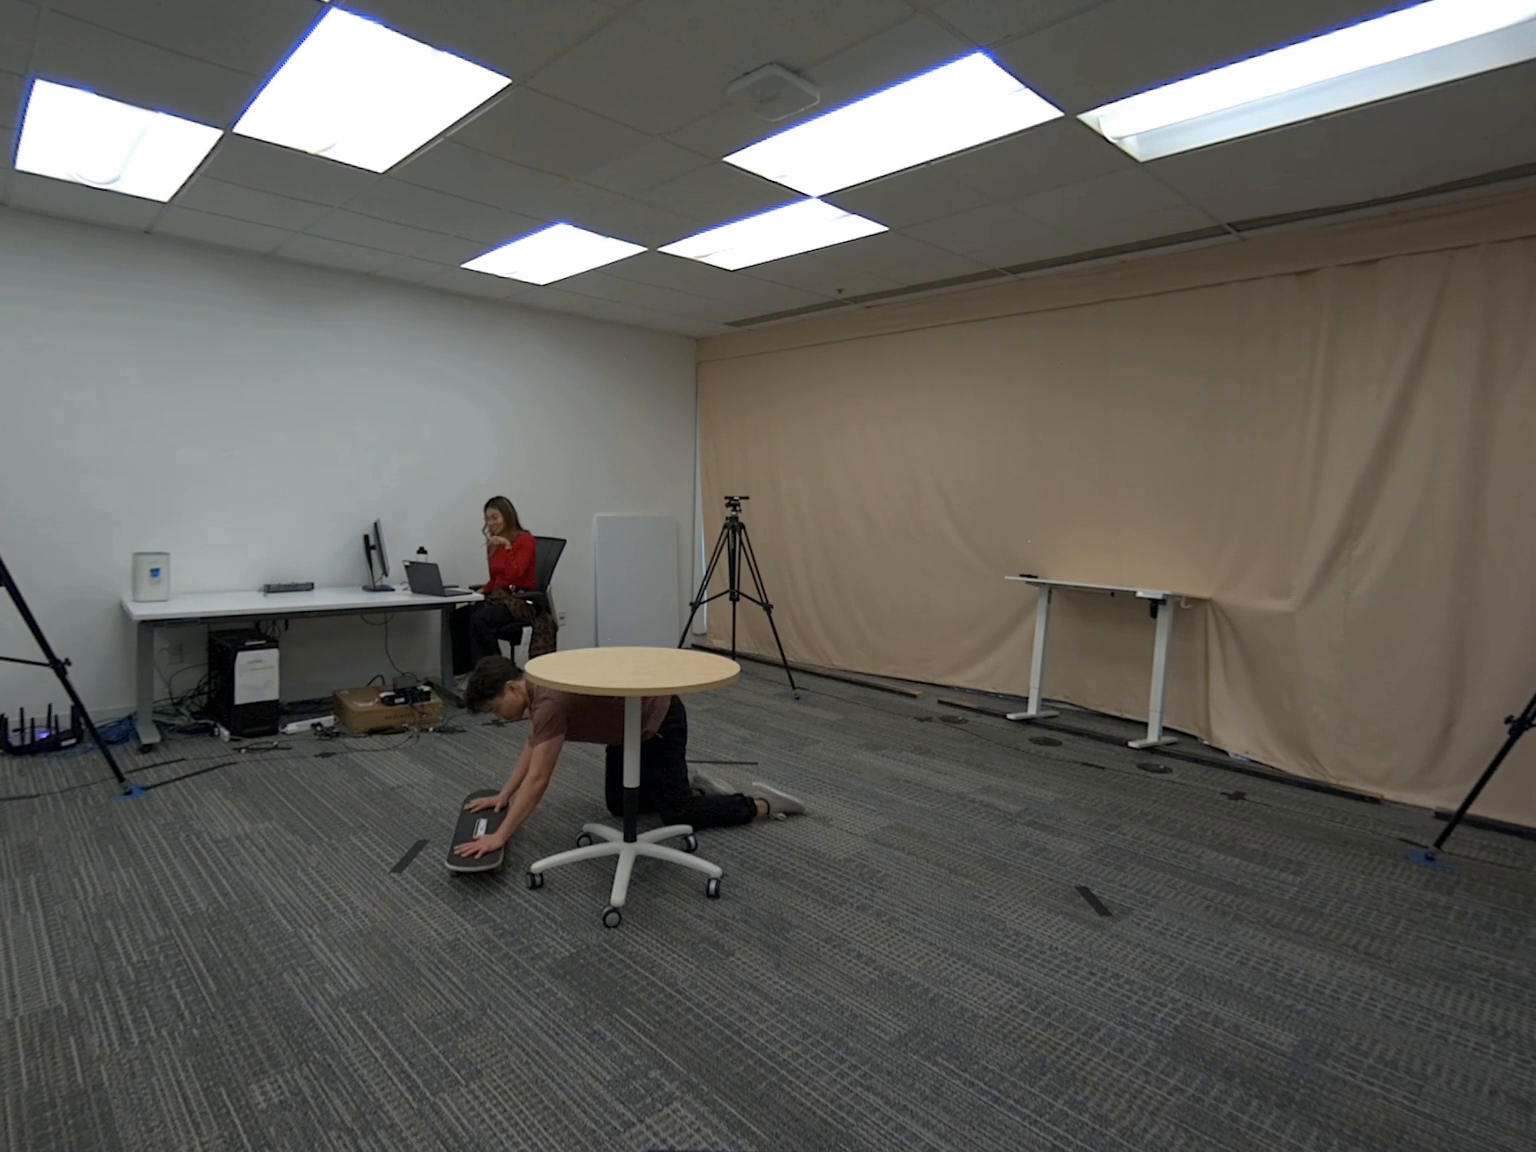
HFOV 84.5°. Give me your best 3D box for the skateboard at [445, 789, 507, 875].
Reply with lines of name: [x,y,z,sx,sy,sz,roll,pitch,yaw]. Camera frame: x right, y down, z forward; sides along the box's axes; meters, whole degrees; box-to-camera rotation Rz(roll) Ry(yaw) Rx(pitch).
skateboard: [-1.112,1.008,3.257,0.191,0.110,0.796,0,6,-14]
